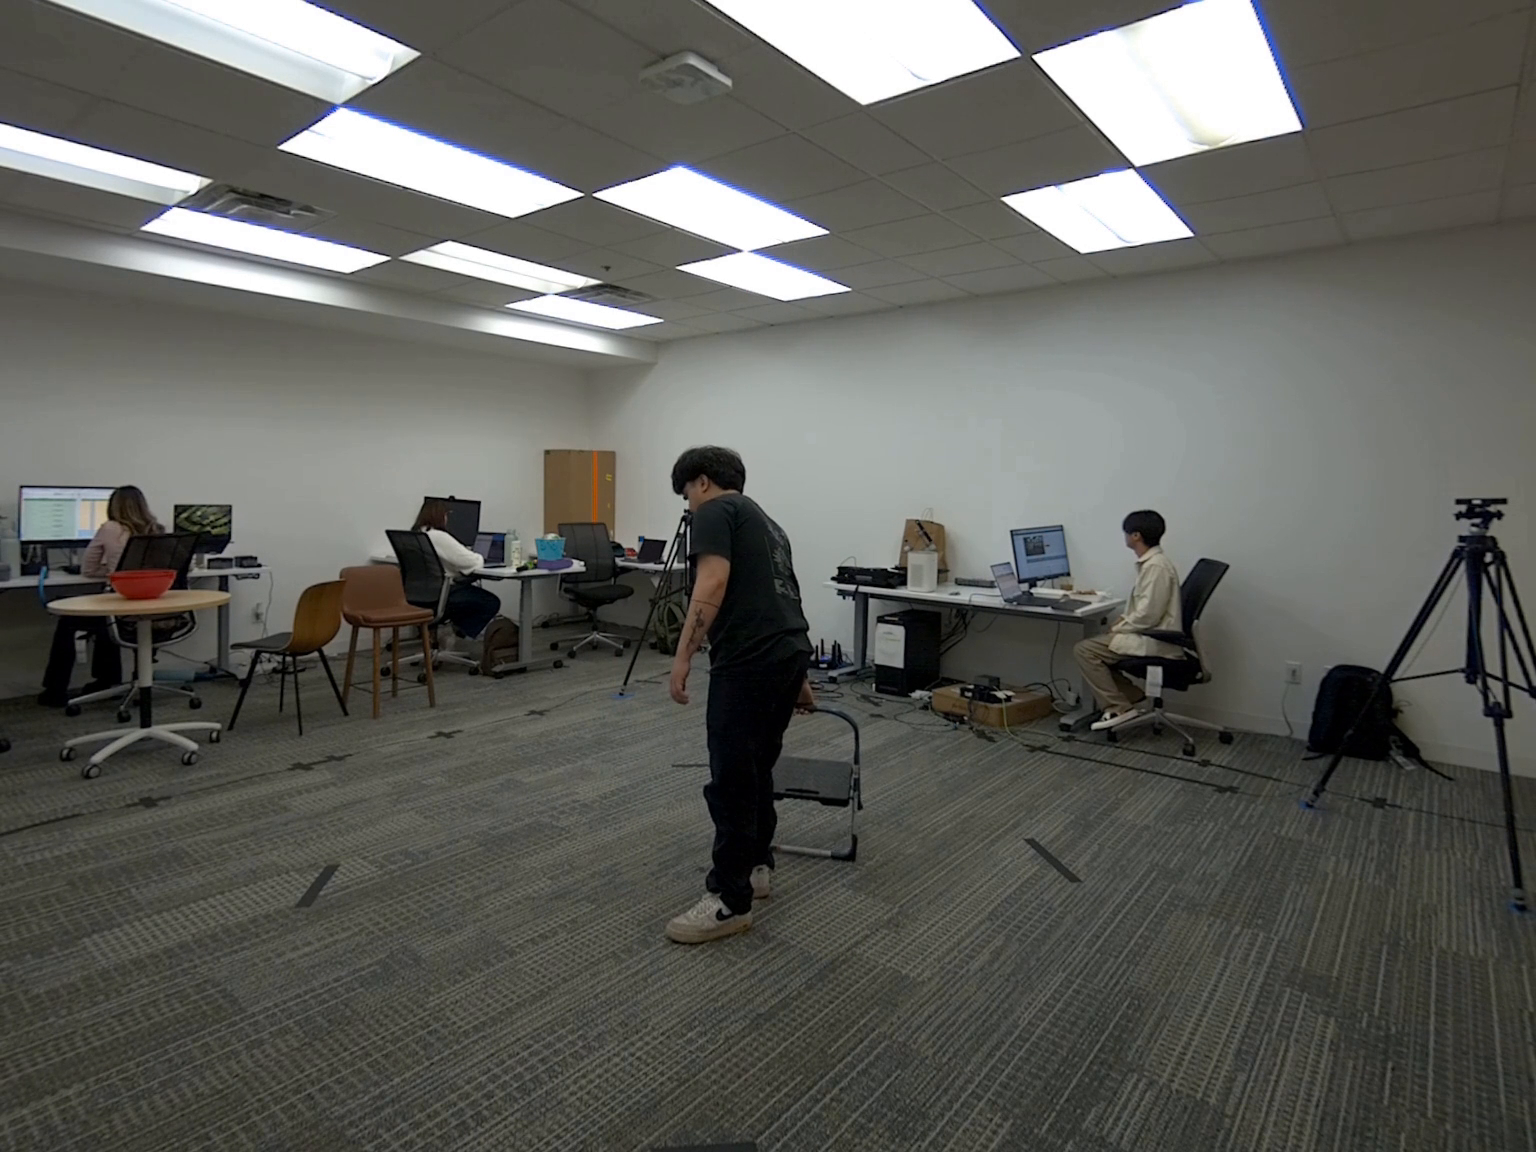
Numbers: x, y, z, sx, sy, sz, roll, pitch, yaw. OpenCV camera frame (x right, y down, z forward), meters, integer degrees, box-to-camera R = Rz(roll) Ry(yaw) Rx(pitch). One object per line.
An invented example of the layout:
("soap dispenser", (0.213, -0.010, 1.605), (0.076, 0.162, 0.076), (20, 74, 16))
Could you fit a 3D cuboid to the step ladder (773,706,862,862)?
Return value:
("step ladder", (0.139, 0.724, 3.298), (0.436, 0.594, 0.352), (2, 21, 11))
